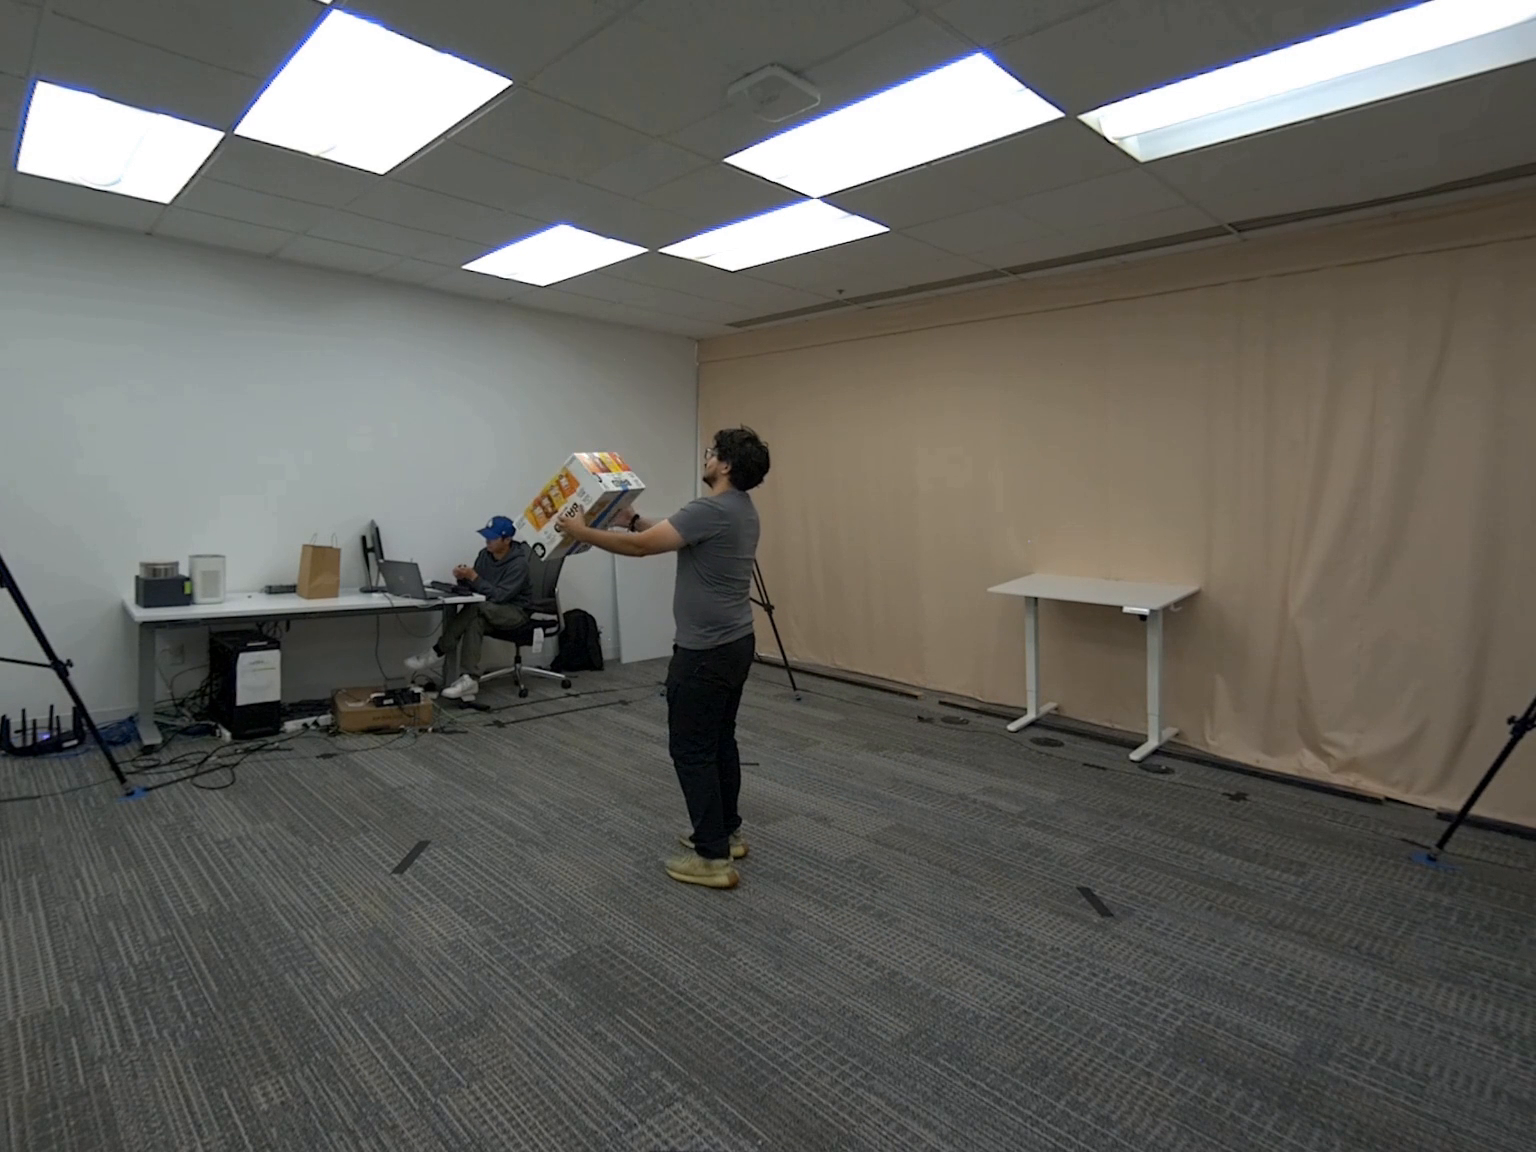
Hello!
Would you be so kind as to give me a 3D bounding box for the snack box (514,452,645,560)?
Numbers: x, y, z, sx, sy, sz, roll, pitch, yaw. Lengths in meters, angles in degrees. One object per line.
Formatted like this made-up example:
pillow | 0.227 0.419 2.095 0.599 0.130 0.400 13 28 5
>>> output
snack box | -0.767 -0.288 3.406 0.405 0.208 0.337 -43 -8 20
